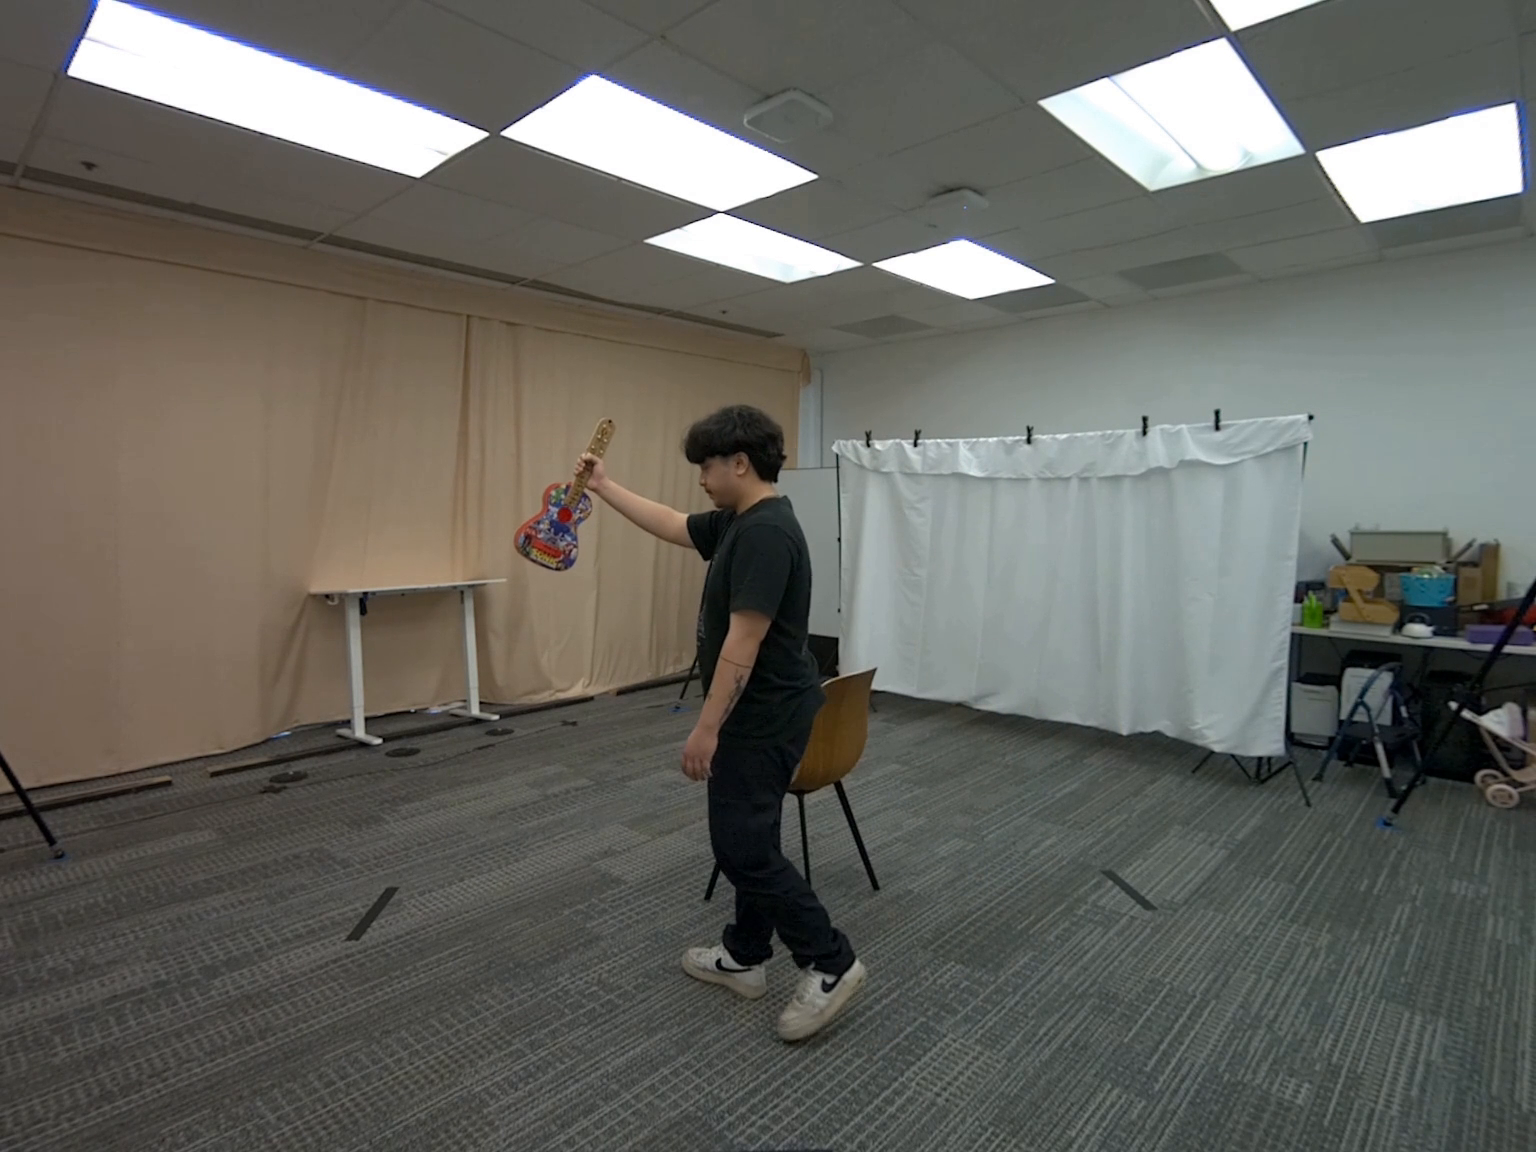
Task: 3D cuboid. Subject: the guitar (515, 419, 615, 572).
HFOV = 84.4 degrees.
[{"bbox_3d":[-0.581,-0.244,2.626,0.188,0.497,0.072,35,-7,-20],"label":"guitar"}]
